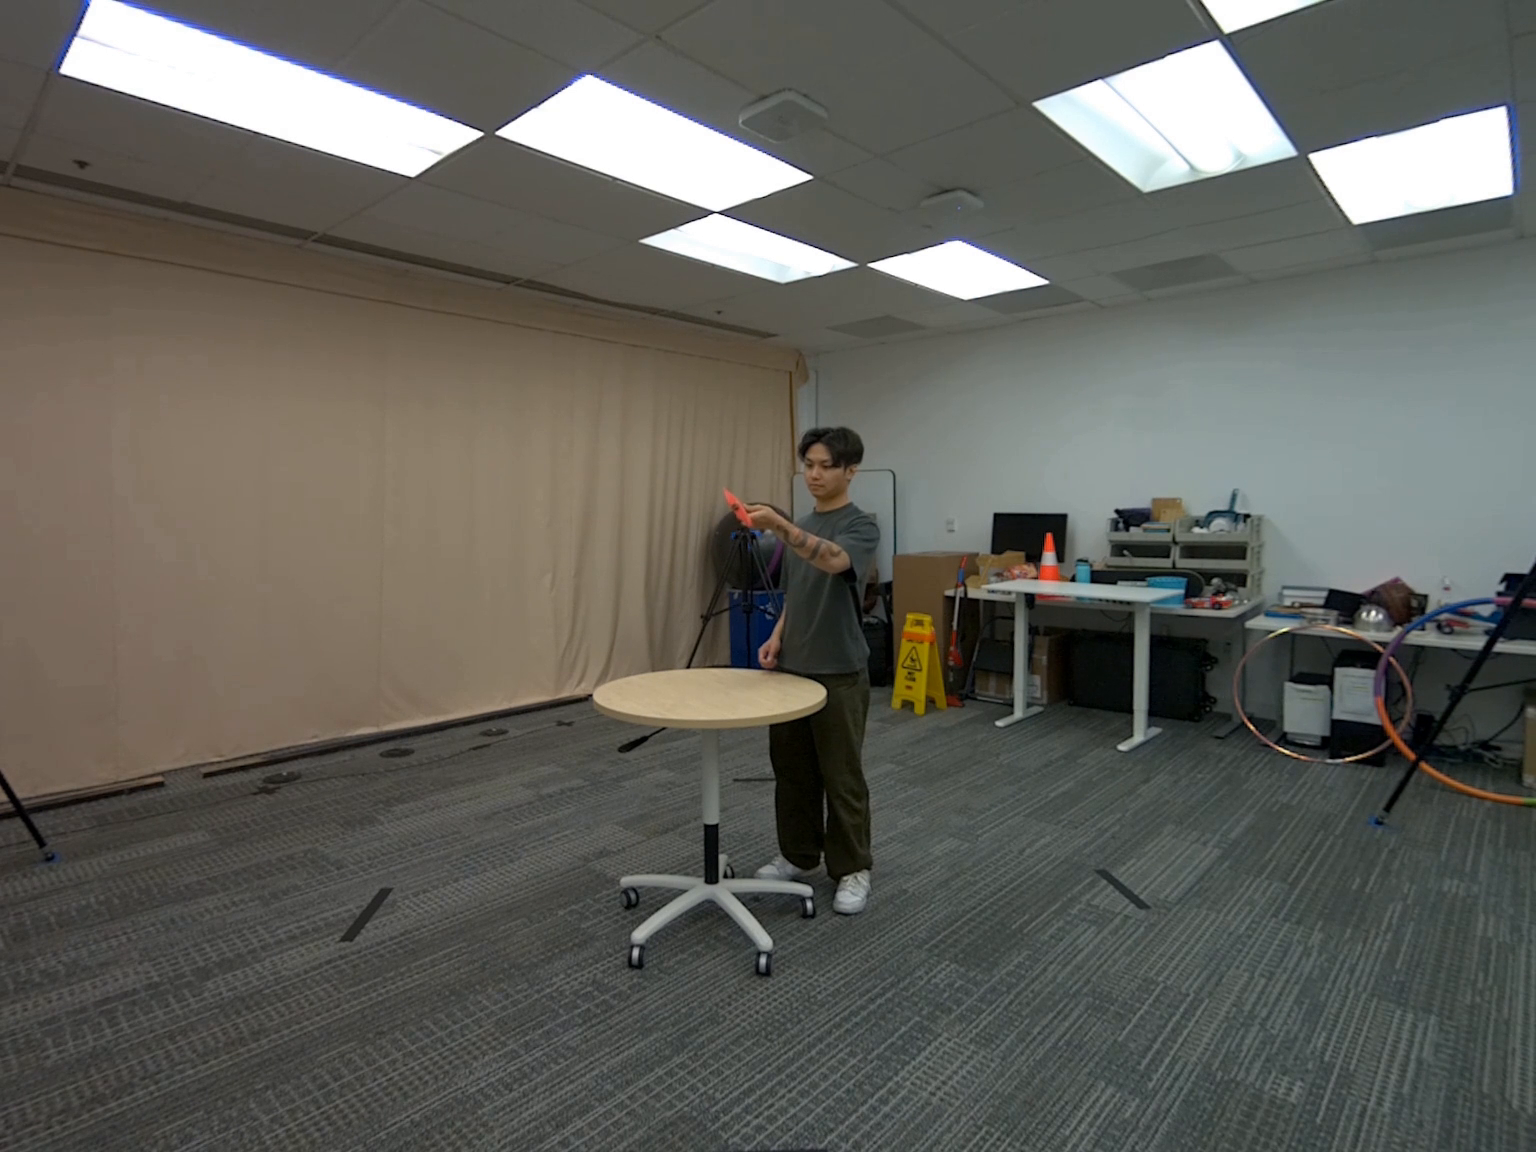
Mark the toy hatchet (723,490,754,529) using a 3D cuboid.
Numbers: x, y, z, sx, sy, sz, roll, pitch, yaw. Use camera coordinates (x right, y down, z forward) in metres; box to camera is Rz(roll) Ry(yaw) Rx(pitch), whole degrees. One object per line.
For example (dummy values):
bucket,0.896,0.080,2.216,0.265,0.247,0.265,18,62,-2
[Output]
toy hatchet,-0.050,-0.169,2.542,0.030,0.135,0.261,-35,-29,7
